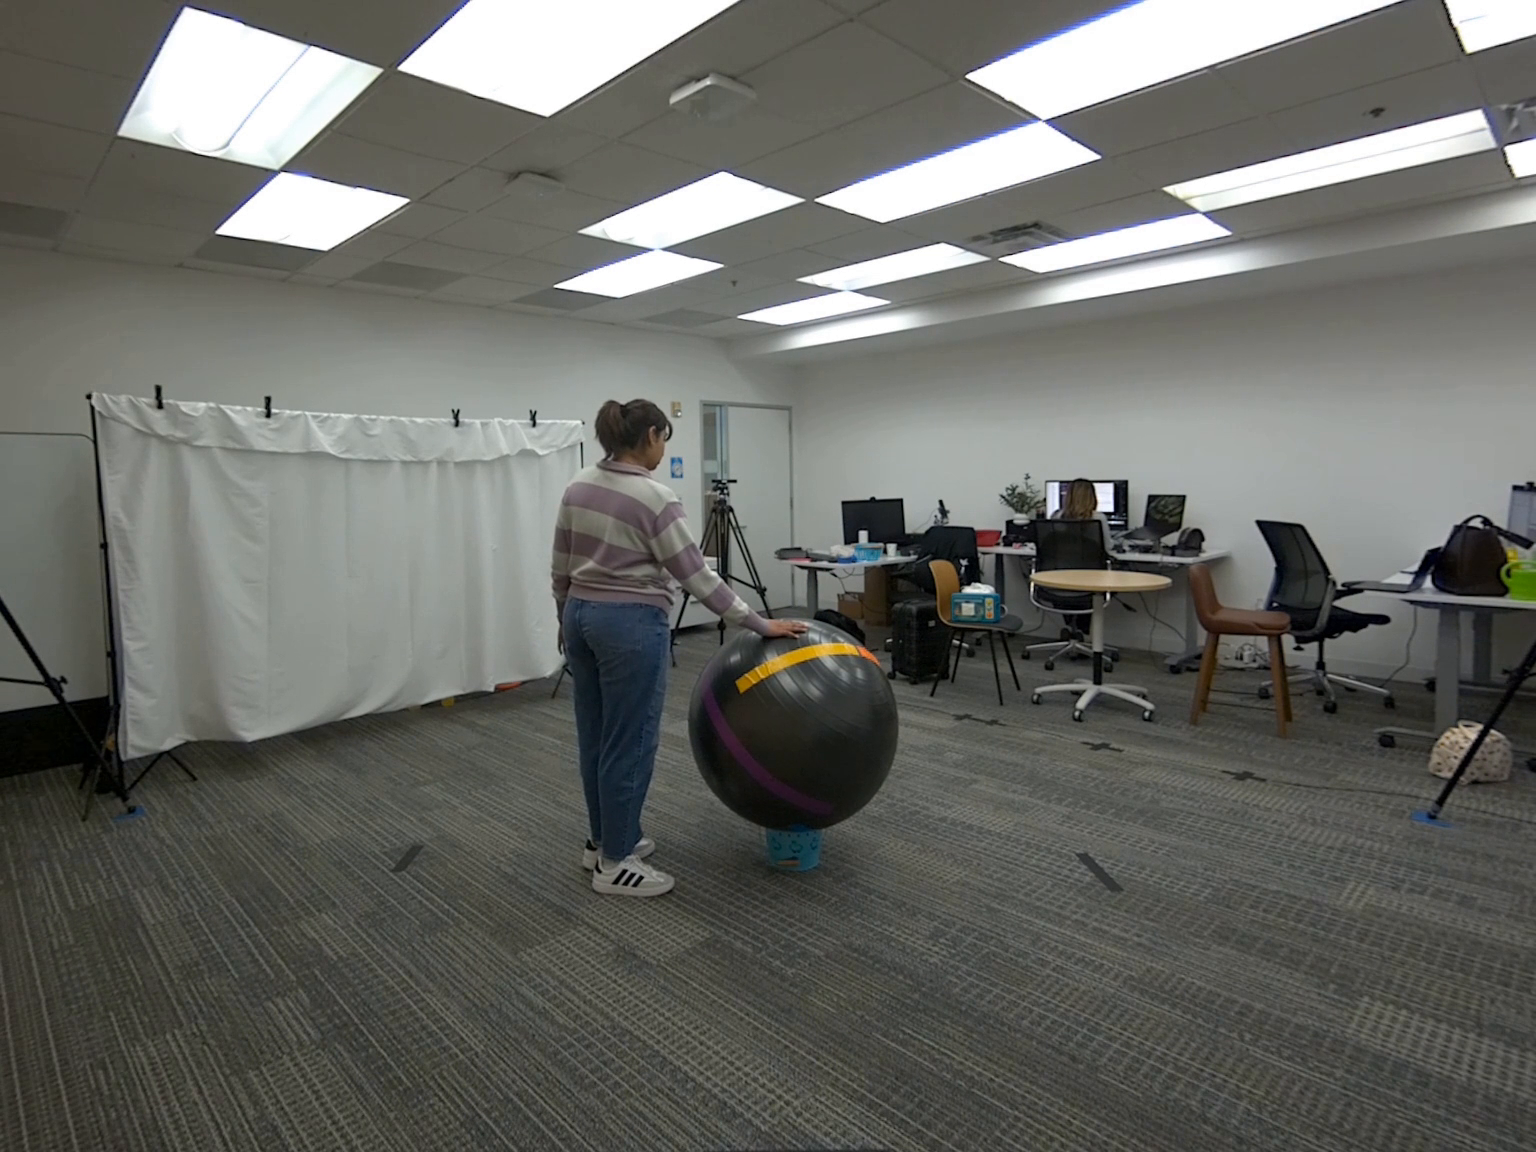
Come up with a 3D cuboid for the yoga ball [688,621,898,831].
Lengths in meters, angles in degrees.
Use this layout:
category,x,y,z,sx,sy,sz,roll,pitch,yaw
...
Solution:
category,x,y,z,sx,sy,sz,roll,pitch,yaw
yoga ball,0.093,0.531,3.111,0.757,0.755,0.762,-1,5,-2
